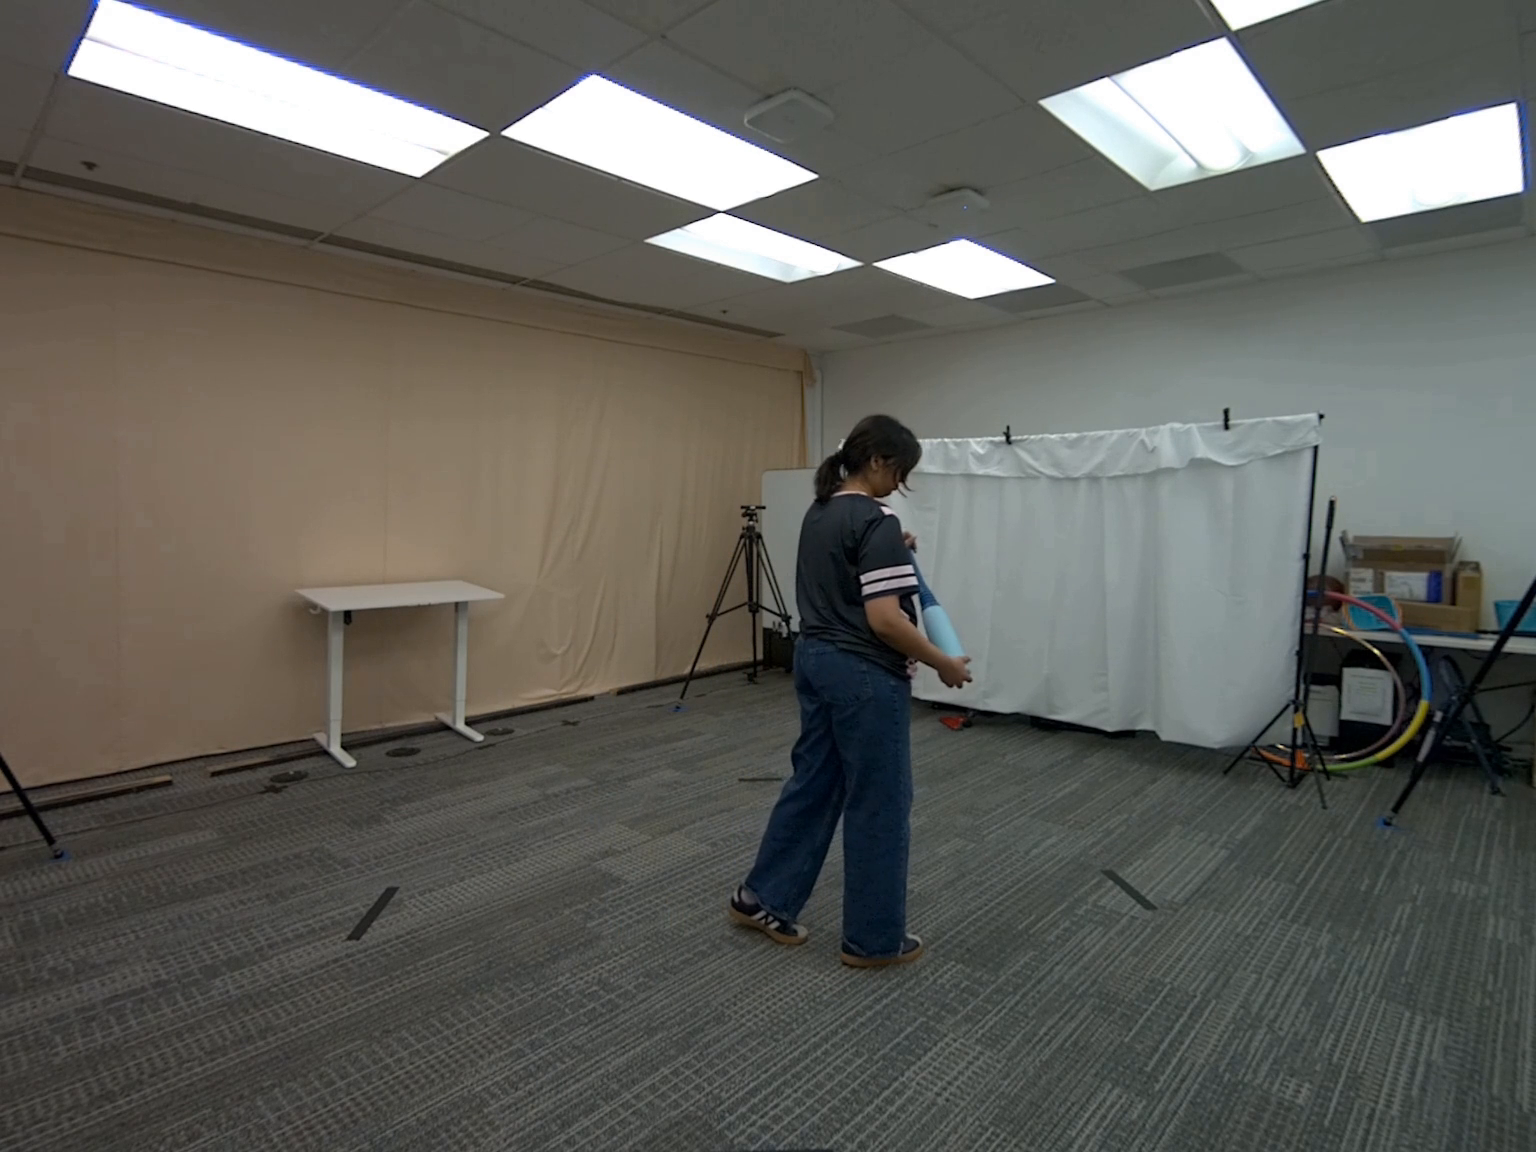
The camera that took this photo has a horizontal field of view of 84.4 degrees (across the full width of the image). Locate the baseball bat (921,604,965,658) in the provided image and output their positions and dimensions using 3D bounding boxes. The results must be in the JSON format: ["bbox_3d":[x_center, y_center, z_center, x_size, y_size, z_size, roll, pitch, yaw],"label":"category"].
[{"bbox_3d":[0.534,0.096,2.722,0.088,0.556,0.087,-7,-37,-7],"label":"baseball bat"}]
